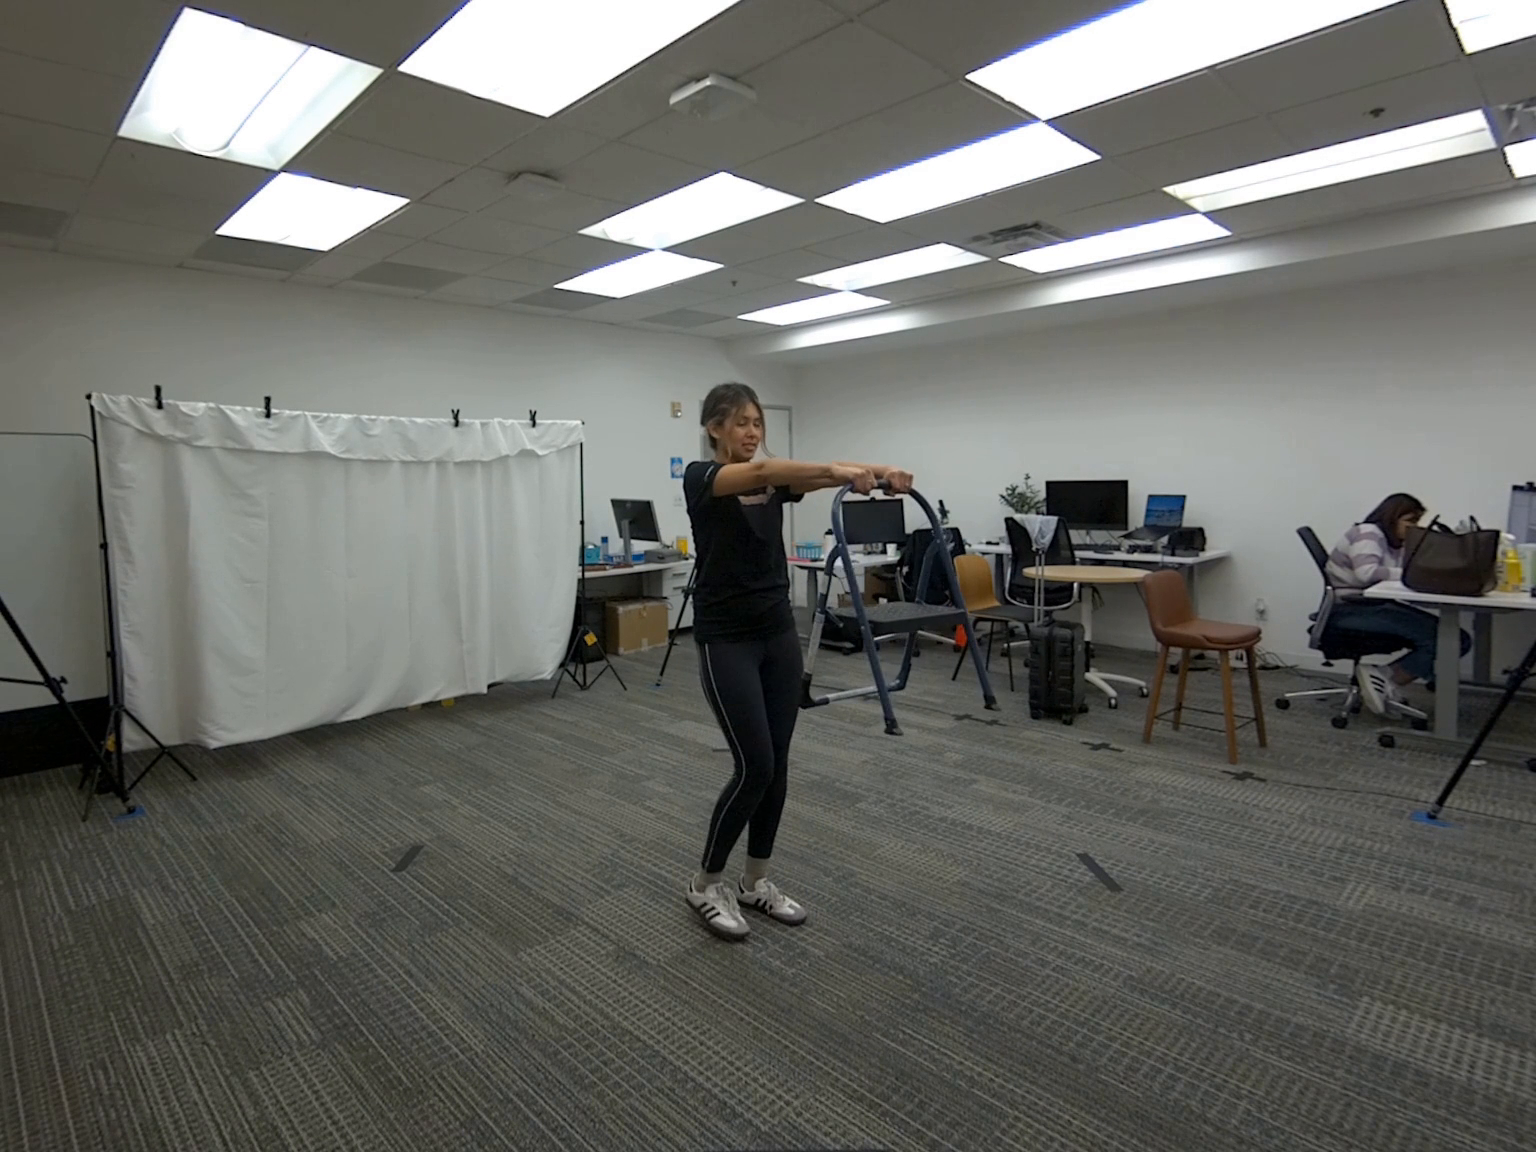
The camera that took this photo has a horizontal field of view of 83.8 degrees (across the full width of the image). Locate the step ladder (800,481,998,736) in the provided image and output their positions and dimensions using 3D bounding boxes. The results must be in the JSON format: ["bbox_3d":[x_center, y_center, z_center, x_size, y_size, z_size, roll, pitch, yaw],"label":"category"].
[{"bbox_3d":[0.344,0.058,2.257,0.419,0.605,0.360,-3,3,-40],"label":"step ladder"}]
